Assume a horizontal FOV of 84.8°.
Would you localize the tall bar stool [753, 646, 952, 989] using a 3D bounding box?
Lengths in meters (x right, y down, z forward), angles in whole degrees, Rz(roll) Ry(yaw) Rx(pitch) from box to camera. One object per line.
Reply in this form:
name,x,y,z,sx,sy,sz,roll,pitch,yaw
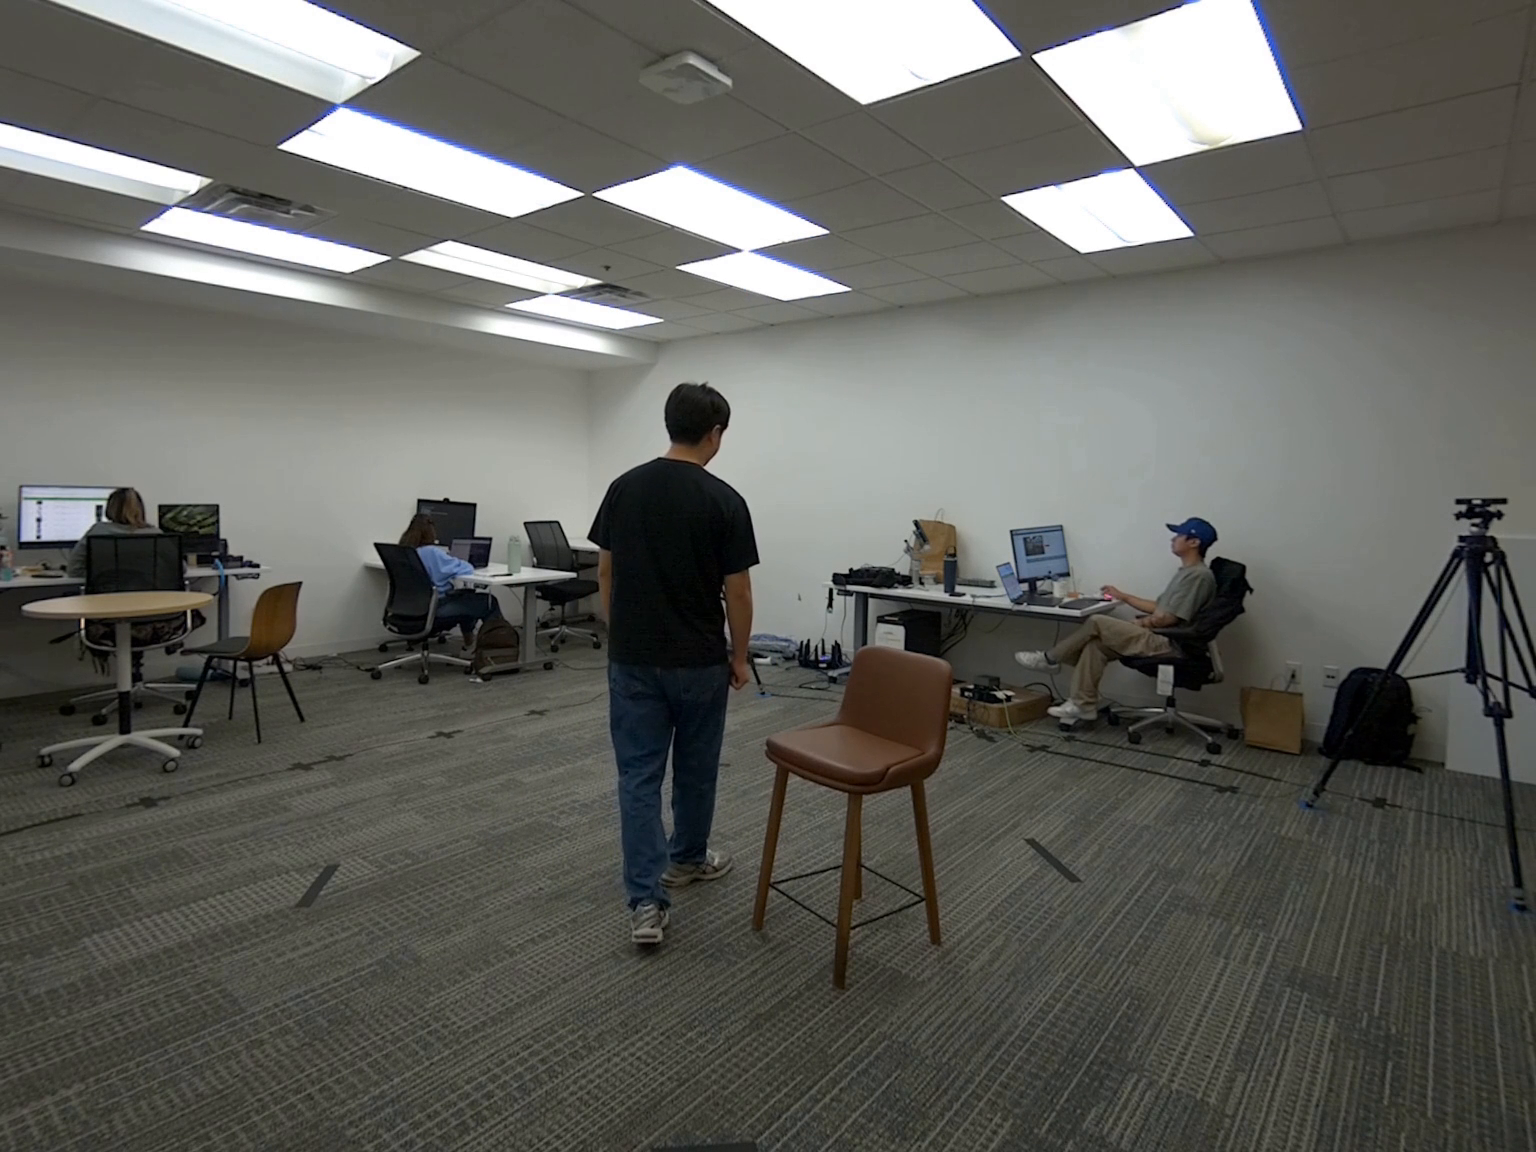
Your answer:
tall bar stool,0.259,0.689,2.639,0.453,0.888,0.471,1,2,-37
